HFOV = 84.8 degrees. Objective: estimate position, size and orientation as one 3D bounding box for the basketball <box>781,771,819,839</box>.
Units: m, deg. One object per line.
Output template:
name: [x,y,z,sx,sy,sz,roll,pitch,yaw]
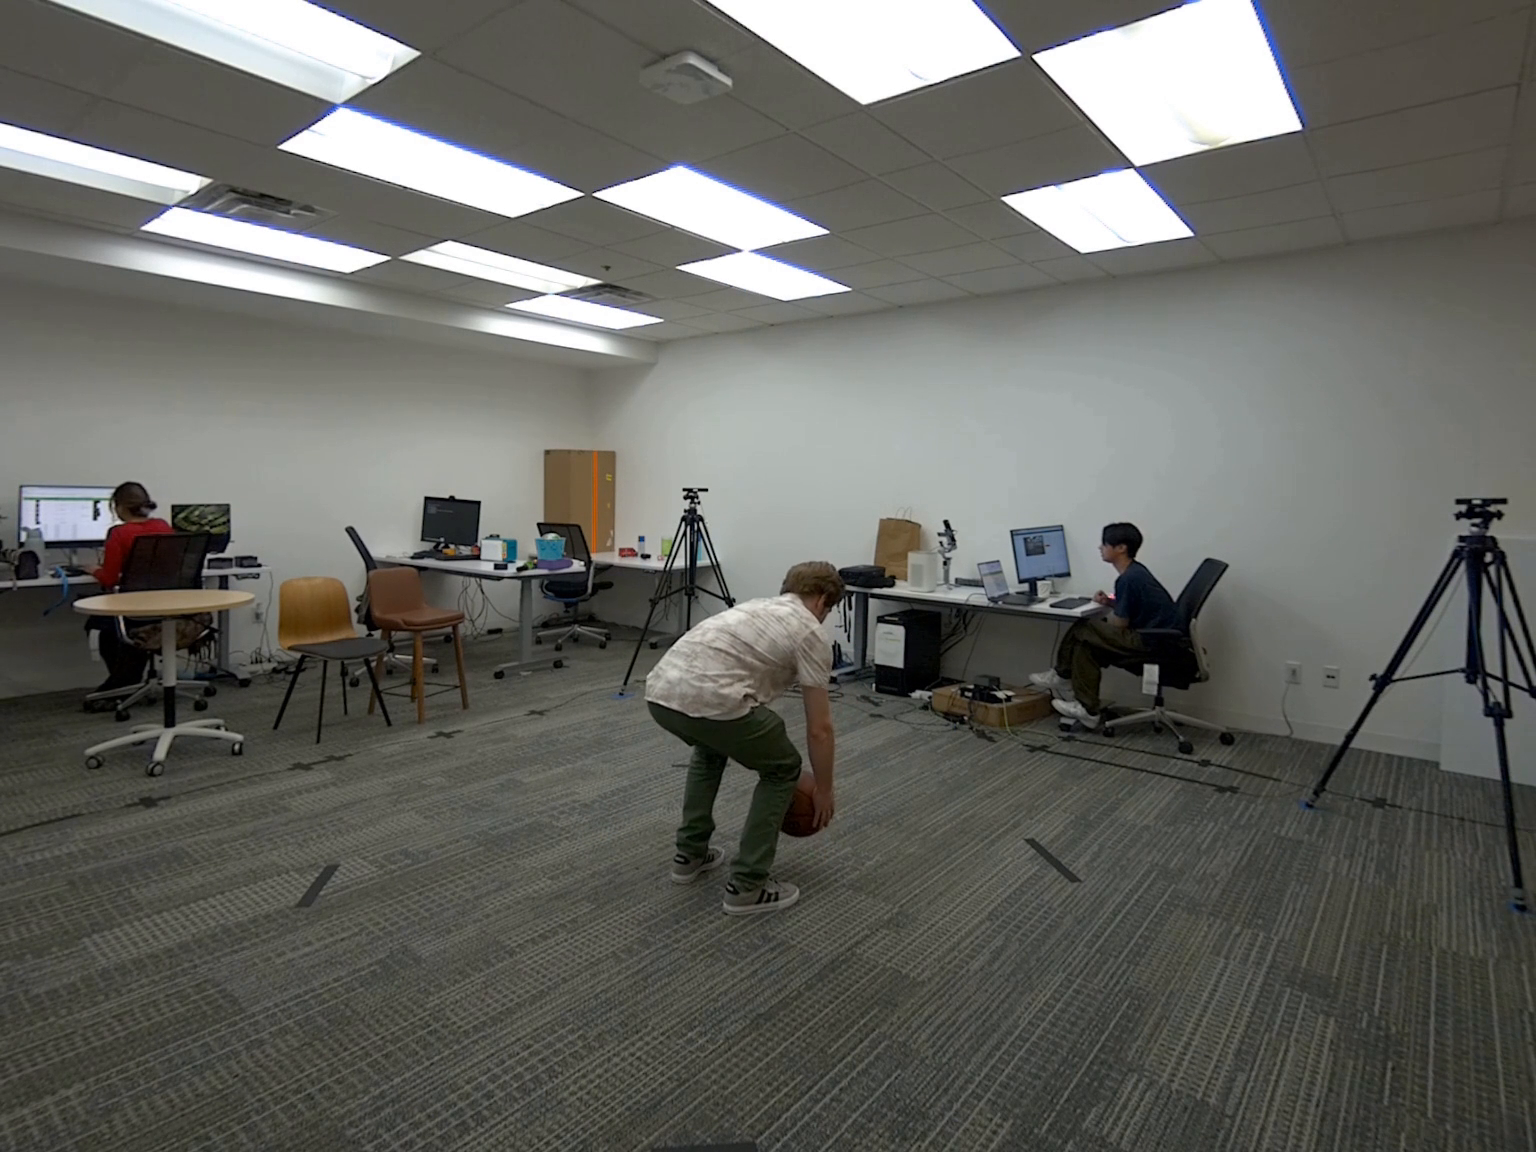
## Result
basketball: [0.113,0.832,3.137,0.235,0.235,0.237,1,4,-2]
